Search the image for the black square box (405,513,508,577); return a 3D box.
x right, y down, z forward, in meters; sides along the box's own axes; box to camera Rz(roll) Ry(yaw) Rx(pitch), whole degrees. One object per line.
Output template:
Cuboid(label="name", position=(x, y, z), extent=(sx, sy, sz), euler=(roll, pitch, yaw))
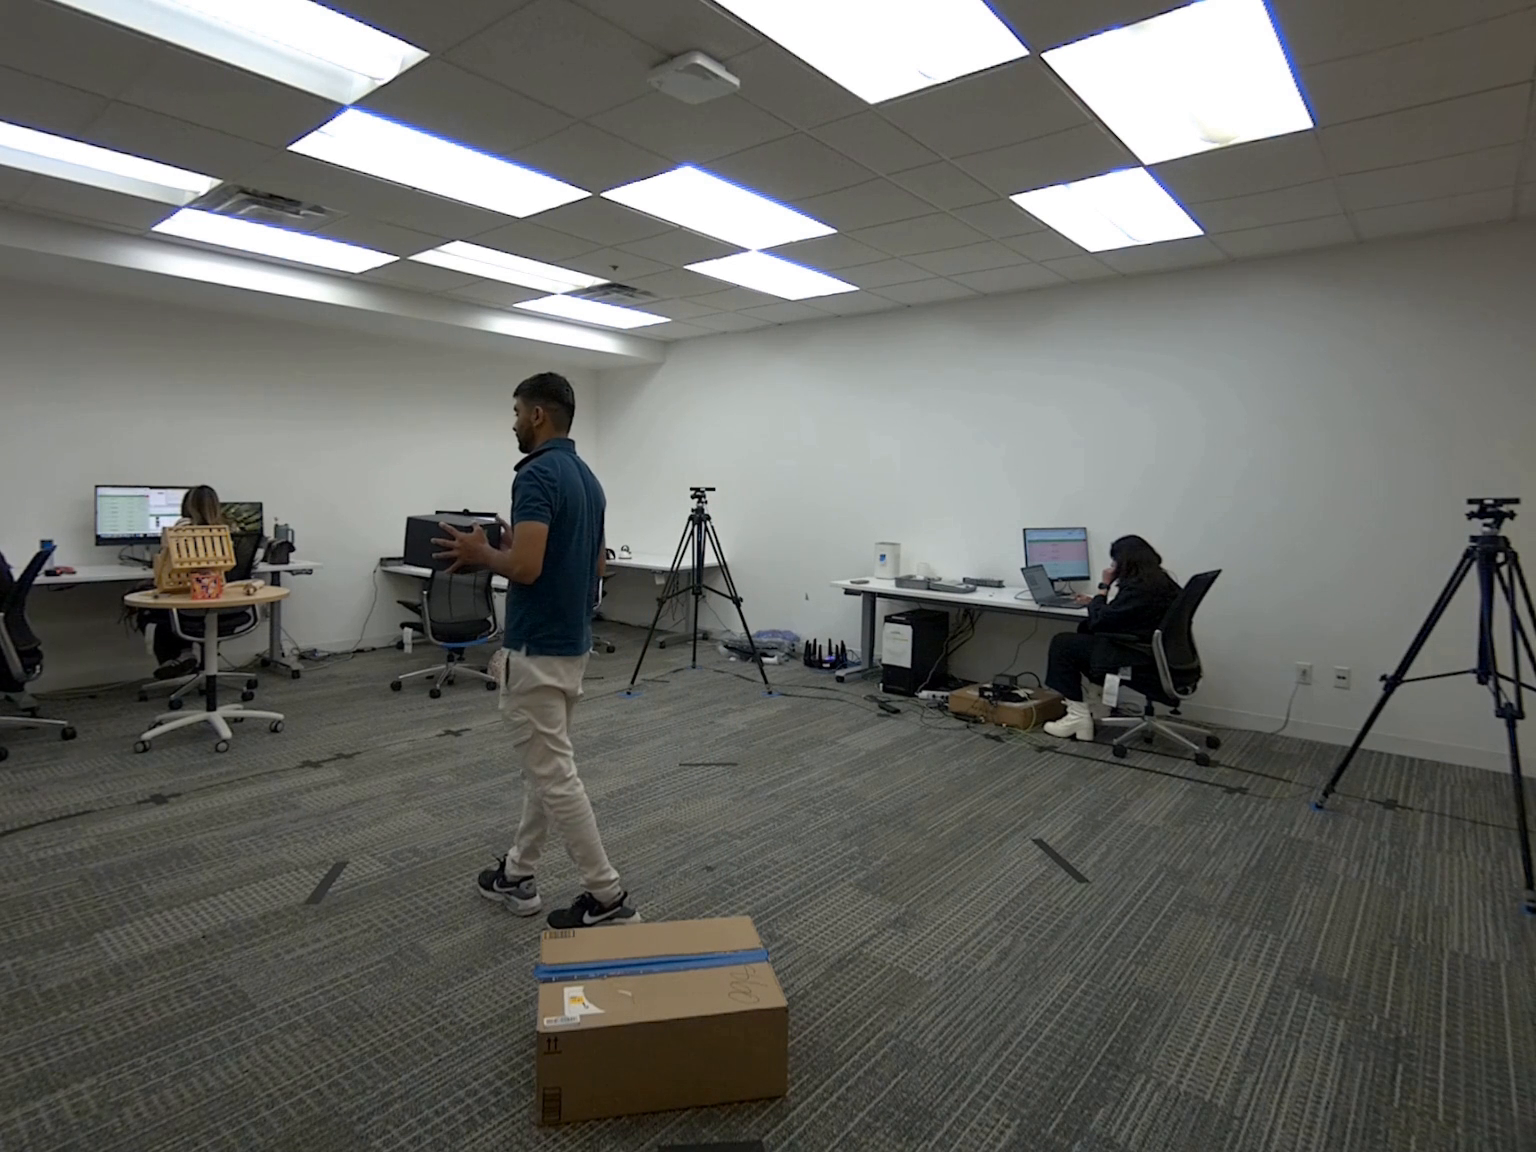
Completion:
Cuboid(label="black square box", position=(-1.022, -0.109, 2.766), extent=(0.220, 0.155, 0.226), euler=(10, 8, 11))
